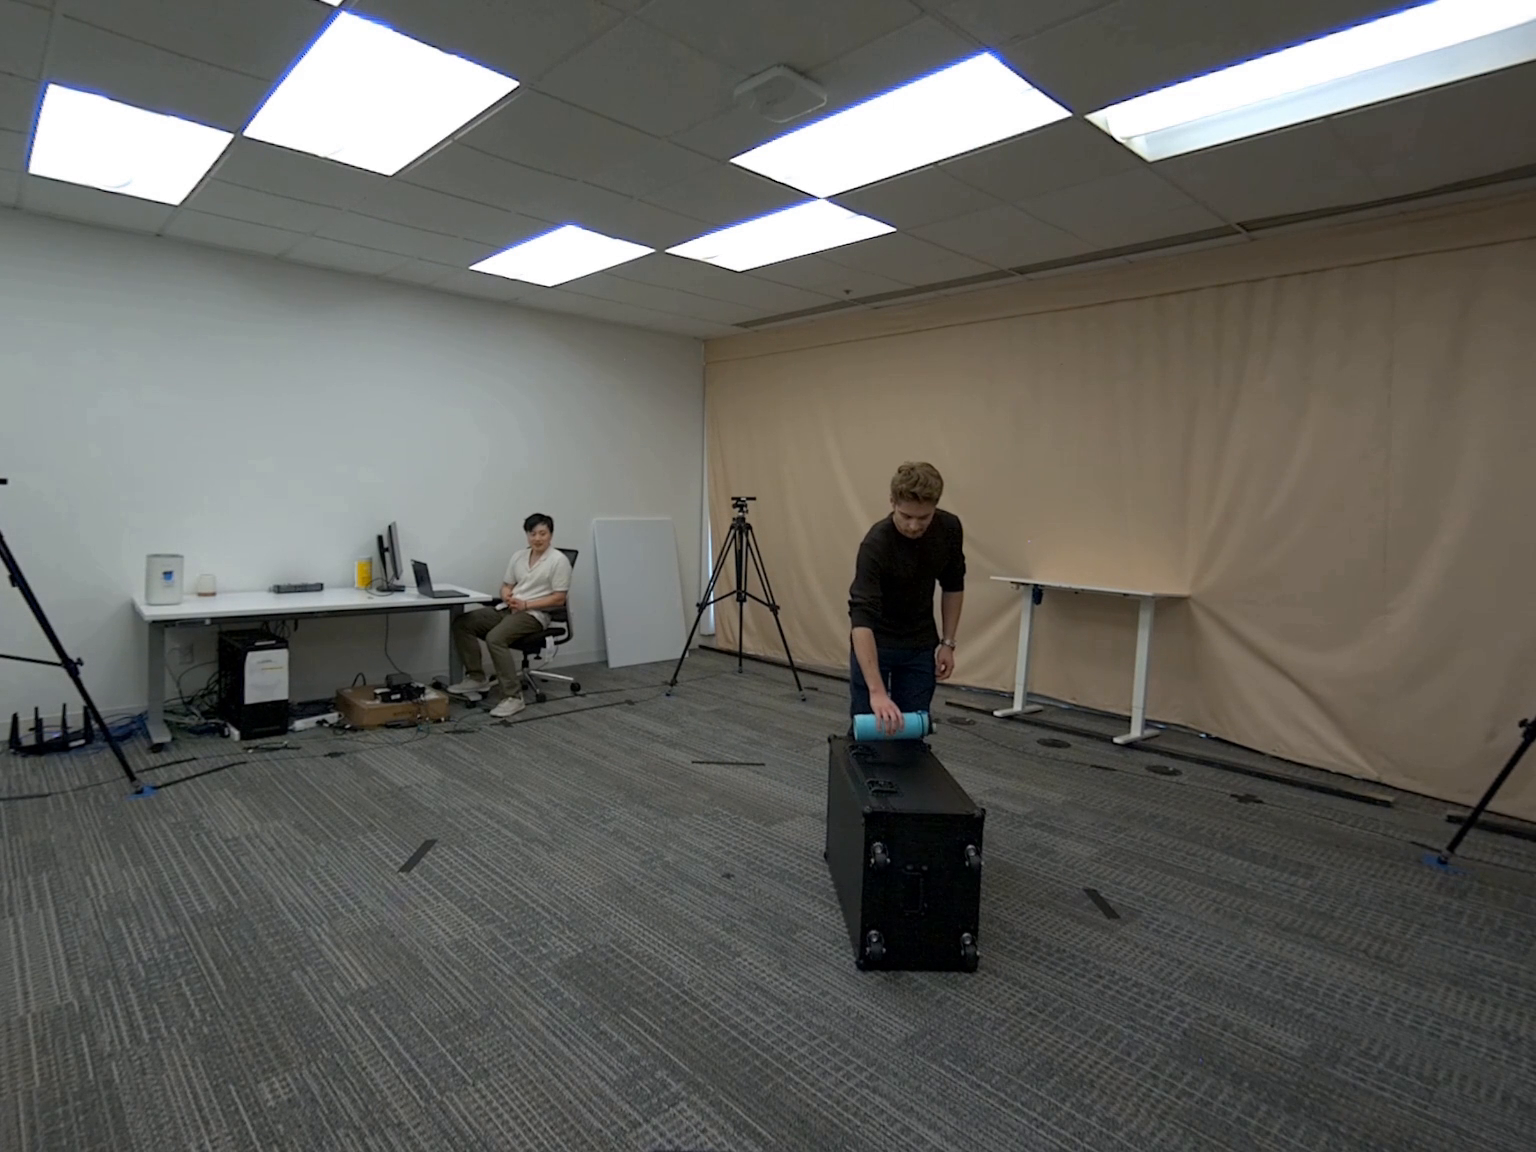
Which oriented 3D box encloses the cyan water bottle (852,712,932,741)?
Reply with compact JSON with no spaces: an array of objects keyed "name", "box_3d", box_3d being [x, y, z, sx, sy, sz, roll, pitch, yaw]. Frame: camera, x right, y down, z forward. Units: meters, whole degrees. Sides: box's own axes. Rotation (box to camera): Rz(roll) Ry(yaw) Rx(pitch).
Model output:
[{"name":"cyan water bottle","box_3d":[0.449,0.533,2.971,0.284,0.092,0.092,-4,4,2]}]
